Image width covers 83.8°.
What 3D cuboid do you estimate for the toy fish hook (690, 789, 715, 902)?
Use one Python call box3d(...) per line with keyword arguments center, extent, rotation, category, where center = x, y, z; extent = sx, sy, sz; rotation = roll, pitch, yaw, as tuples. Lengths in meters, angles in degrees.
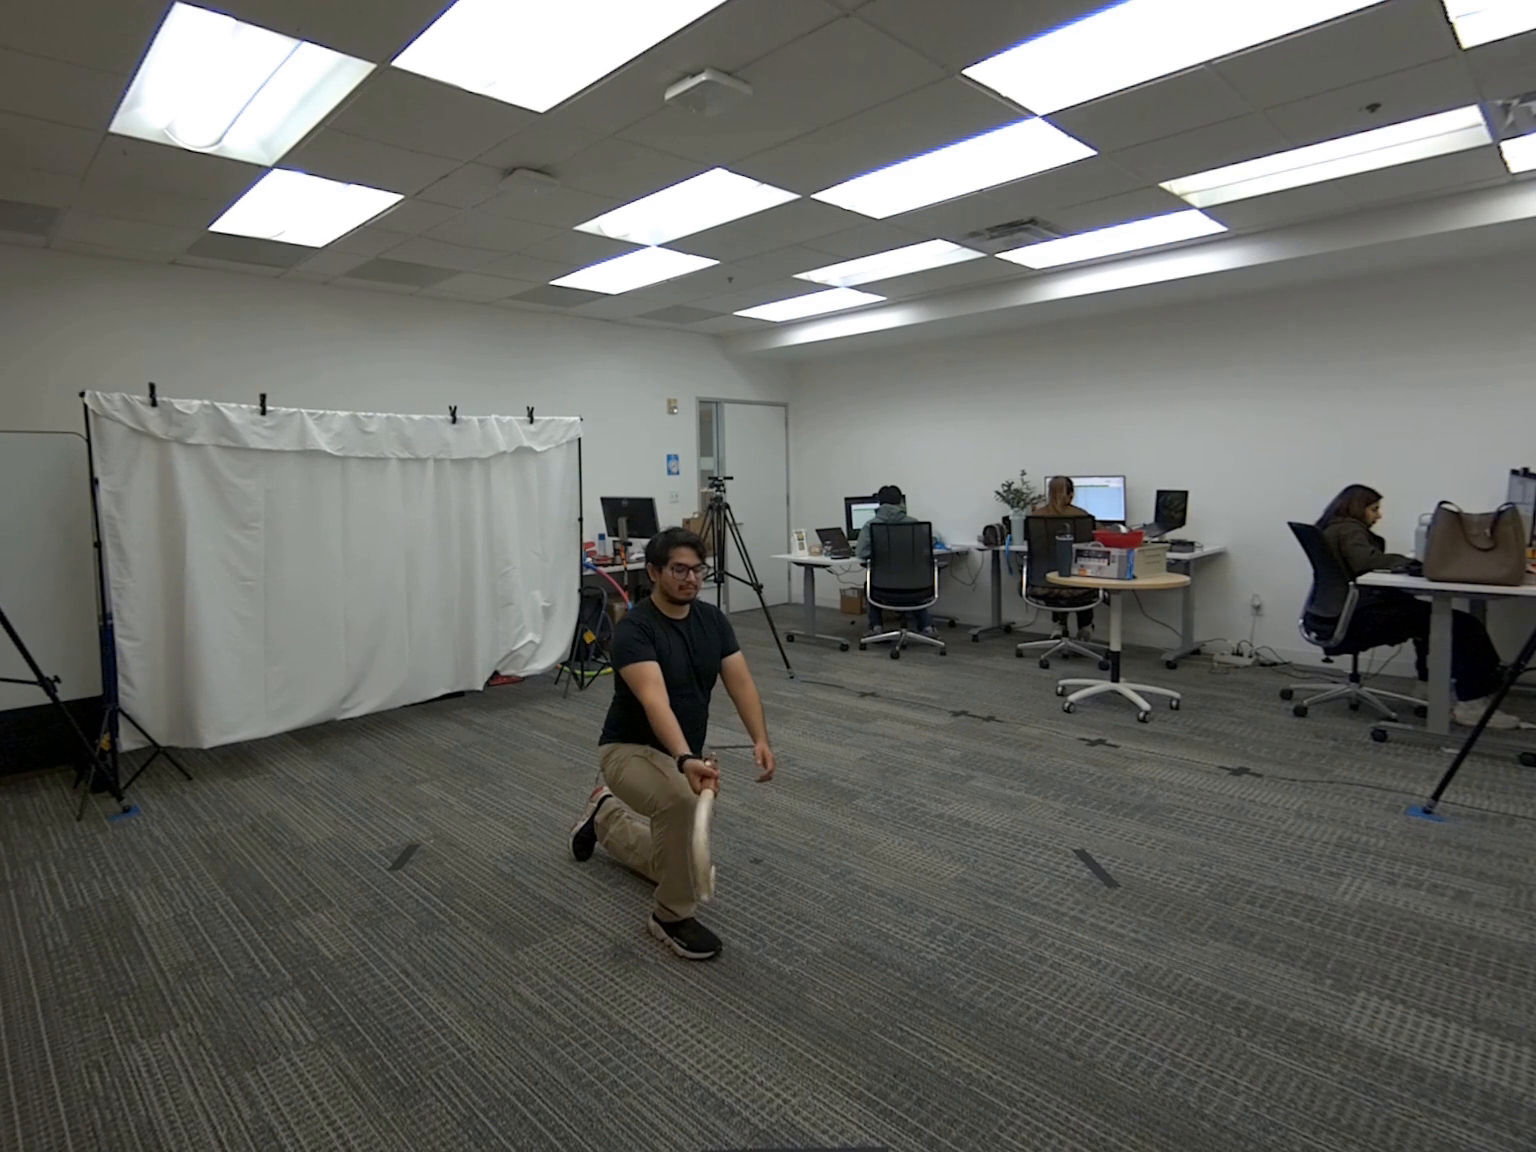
box3d(center=(-0.156, 0.634, 2.172), extent=(0.048, 0.222, 0.512), rotation=(0, 14, 1), category="toy fish hook")
